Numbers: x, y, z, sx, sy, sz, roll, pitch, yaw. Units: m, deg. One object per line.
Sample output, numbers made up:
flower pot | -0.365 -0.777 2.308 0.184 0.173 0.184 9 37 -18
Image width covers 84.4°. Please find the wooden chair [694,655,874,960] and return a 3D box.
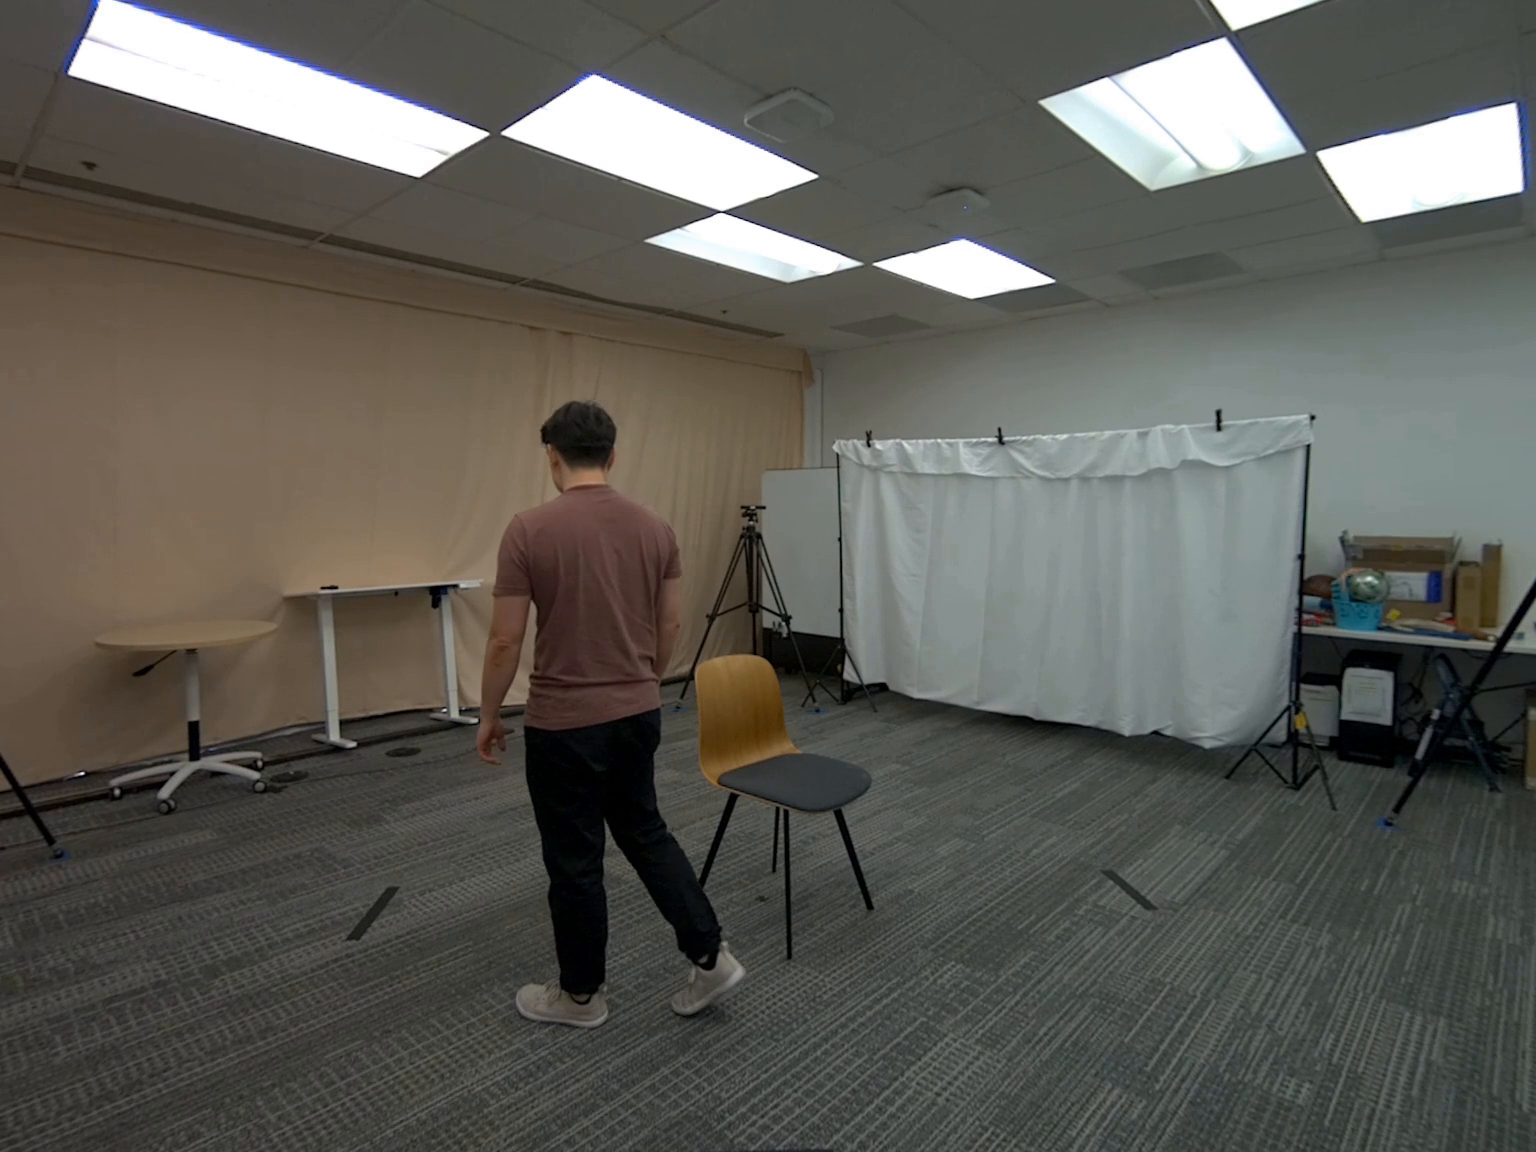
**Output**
wooden chair | 0.056 0.729 2.860 0.539 0.877 0.463 -3 1 43
